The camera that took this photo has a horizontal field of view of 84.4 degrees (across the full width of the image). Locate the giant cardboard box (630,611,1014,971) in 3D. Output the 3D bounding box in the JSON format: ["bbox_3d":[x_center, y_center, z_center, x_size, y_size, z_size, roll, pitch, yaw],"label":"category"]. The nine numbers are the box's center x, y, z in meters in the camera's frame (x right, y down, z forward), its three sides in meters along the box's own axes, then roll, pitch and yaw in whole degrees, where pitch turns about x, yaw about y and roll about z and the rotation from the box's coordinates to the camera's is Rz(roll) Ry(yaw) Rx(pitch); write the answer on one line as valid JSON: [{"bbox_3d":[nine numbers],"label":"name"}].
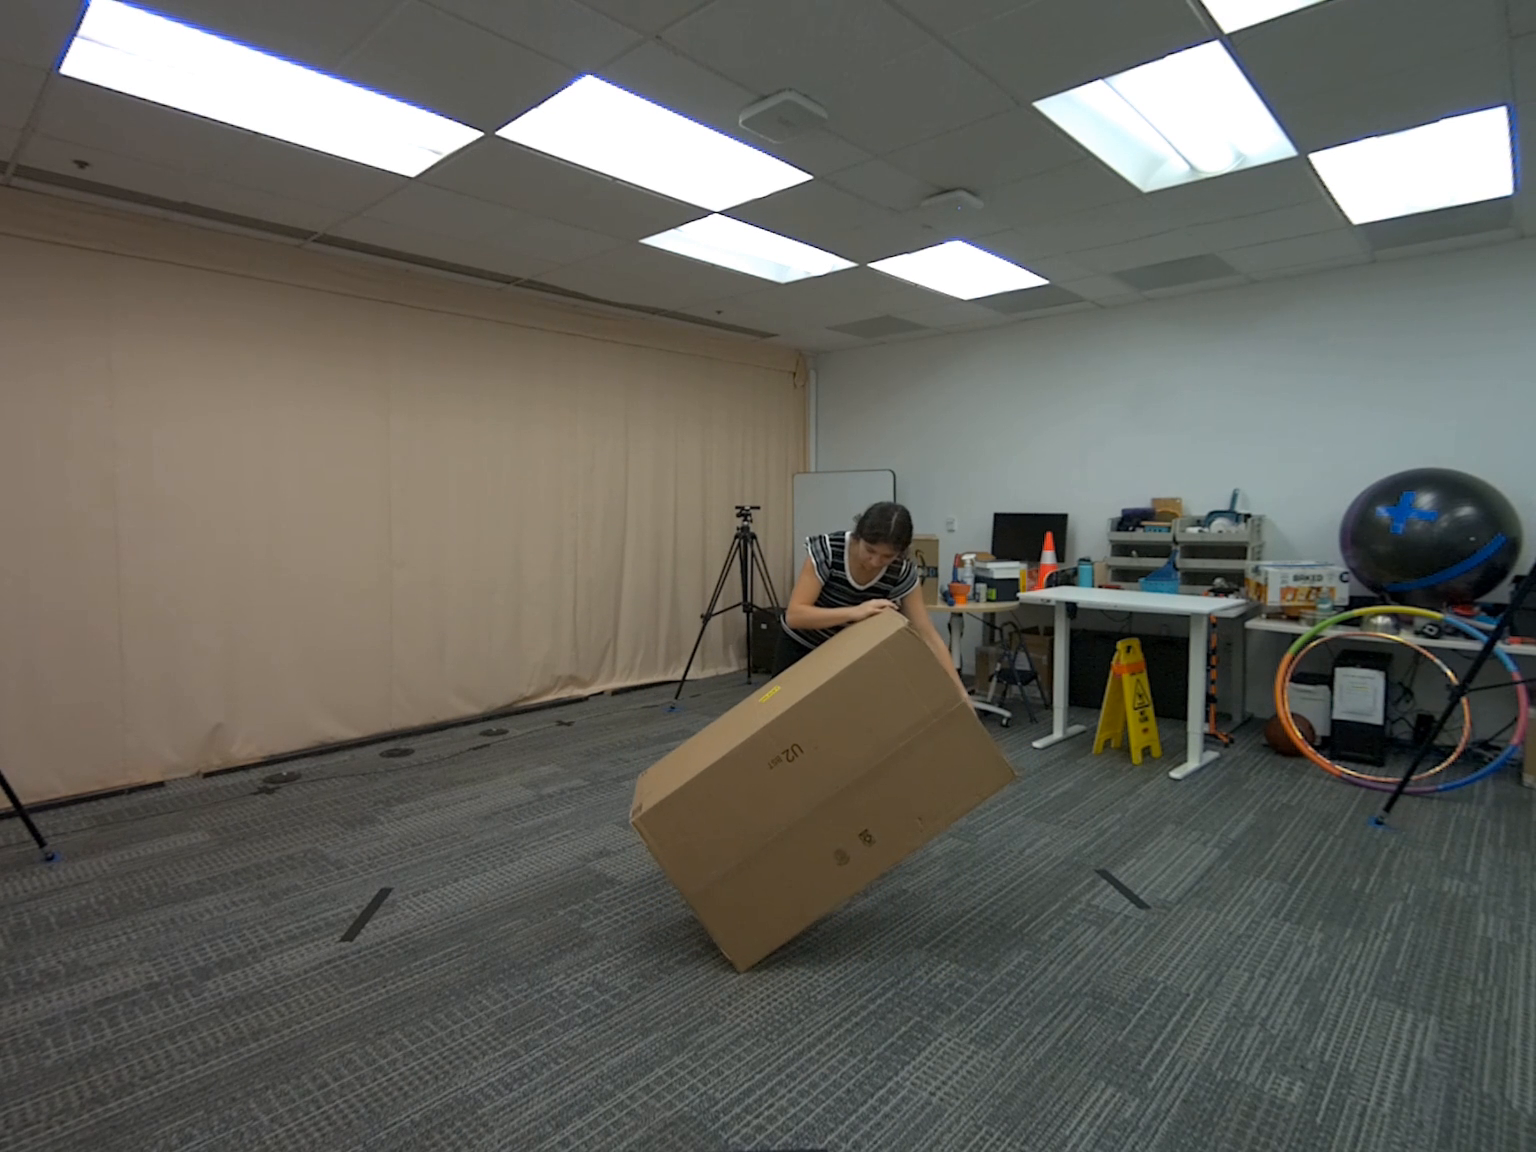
[{"bbox_3d":[0.154,0.639,2.684,1.026,0.575,0.428,-36,5,2],"label":"giant cardboard box"}]
